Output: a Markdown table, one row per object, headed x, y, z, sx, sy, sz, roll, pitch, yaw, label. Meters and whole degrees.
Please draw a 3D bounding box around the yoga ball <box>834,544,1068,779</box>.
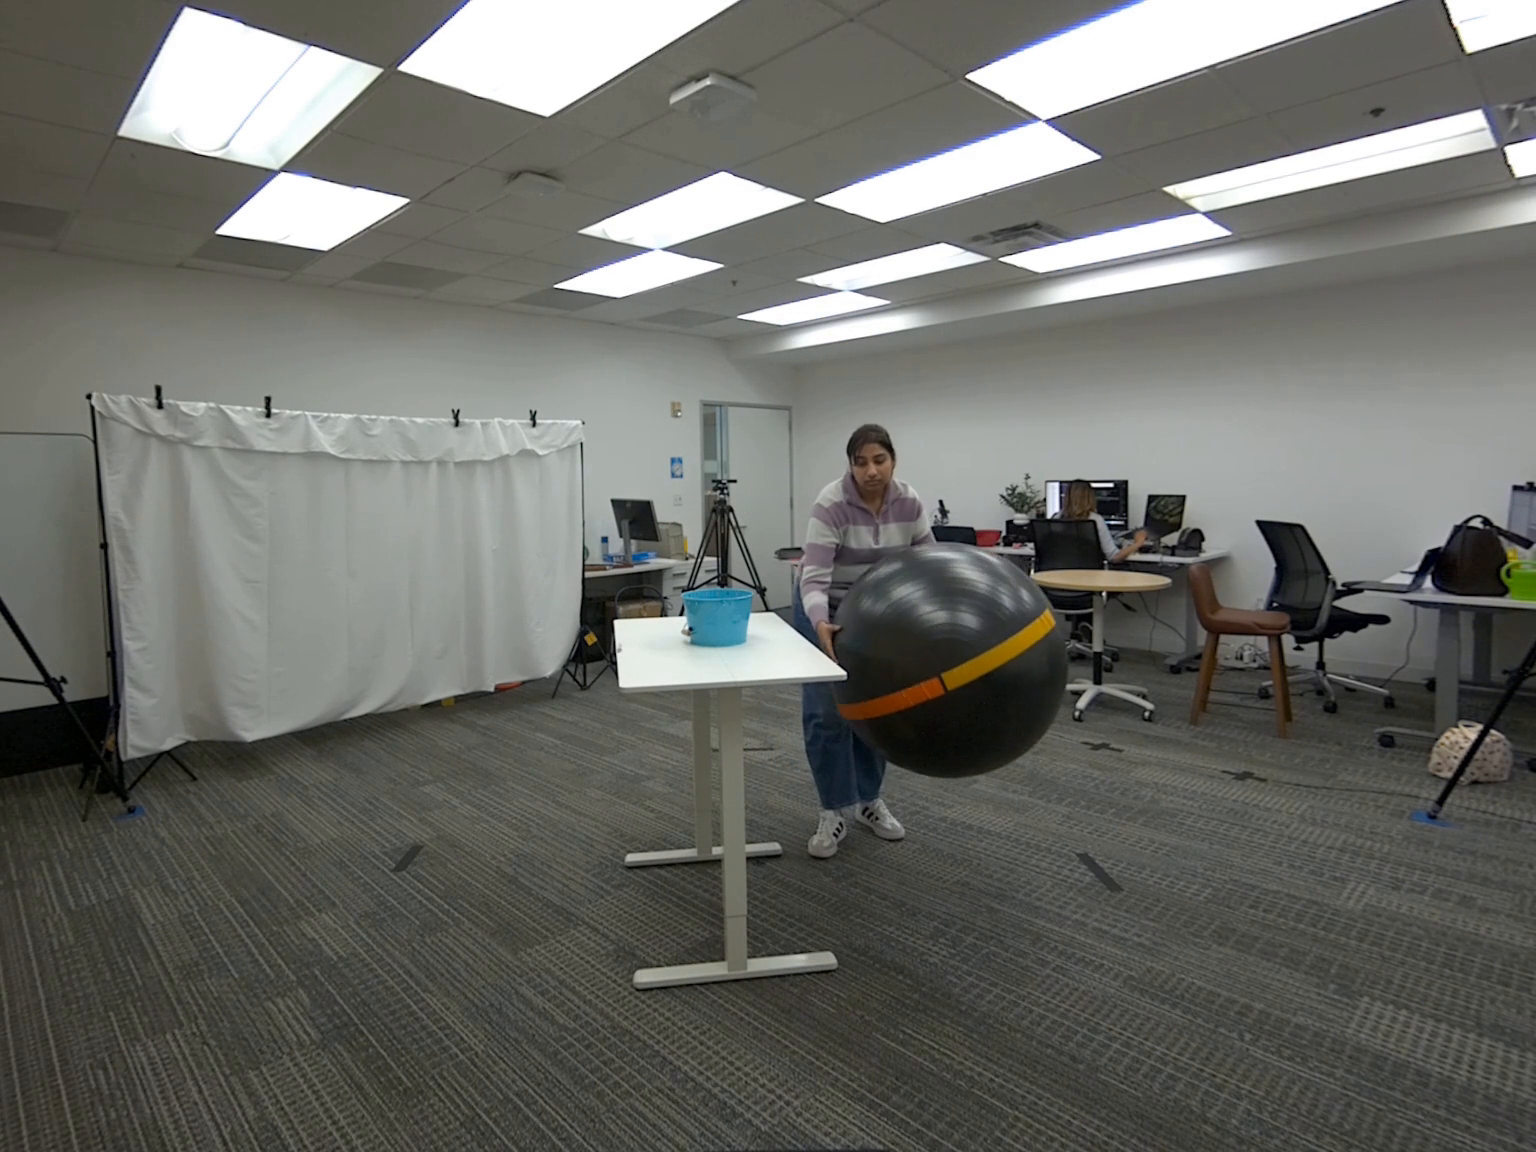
| x | y | z | sx | sy | sz | roll | pitch | yaw | label |
| --- | --- | --- | --- | --- | --- | --- | --- | --- | --- |
| 0.594 | 0.277 | 2.789 | 0.757 | 0.755 | 0.762 | -1 | 5 | -2 | yoga ball |
